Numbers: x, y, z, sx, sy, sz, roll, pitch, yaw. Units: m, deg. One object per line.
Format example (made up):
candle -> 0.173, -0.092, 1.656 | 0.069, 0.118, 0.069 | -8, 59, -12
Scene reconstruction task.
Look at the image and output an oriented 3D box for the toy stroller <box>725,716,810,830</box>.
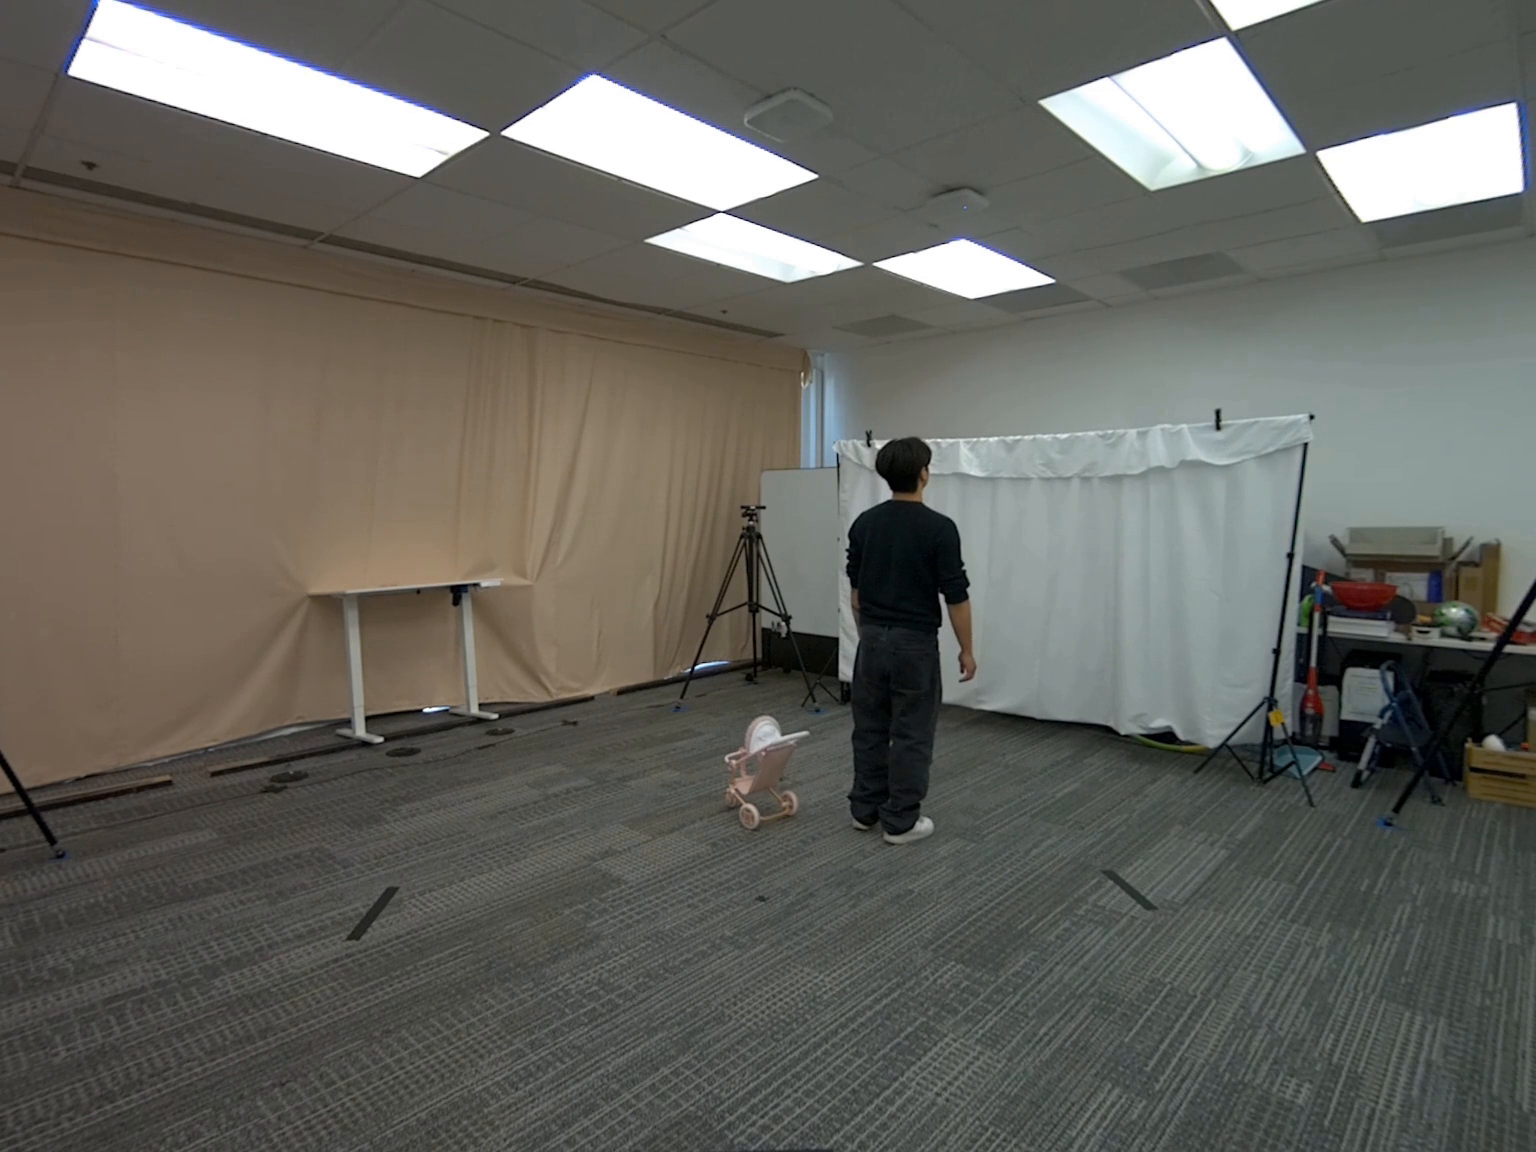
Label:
toy stroller -> -0.032, 0.857, 3.756 | 0.273, 0.531, 0.354 | -2, 20, -39
